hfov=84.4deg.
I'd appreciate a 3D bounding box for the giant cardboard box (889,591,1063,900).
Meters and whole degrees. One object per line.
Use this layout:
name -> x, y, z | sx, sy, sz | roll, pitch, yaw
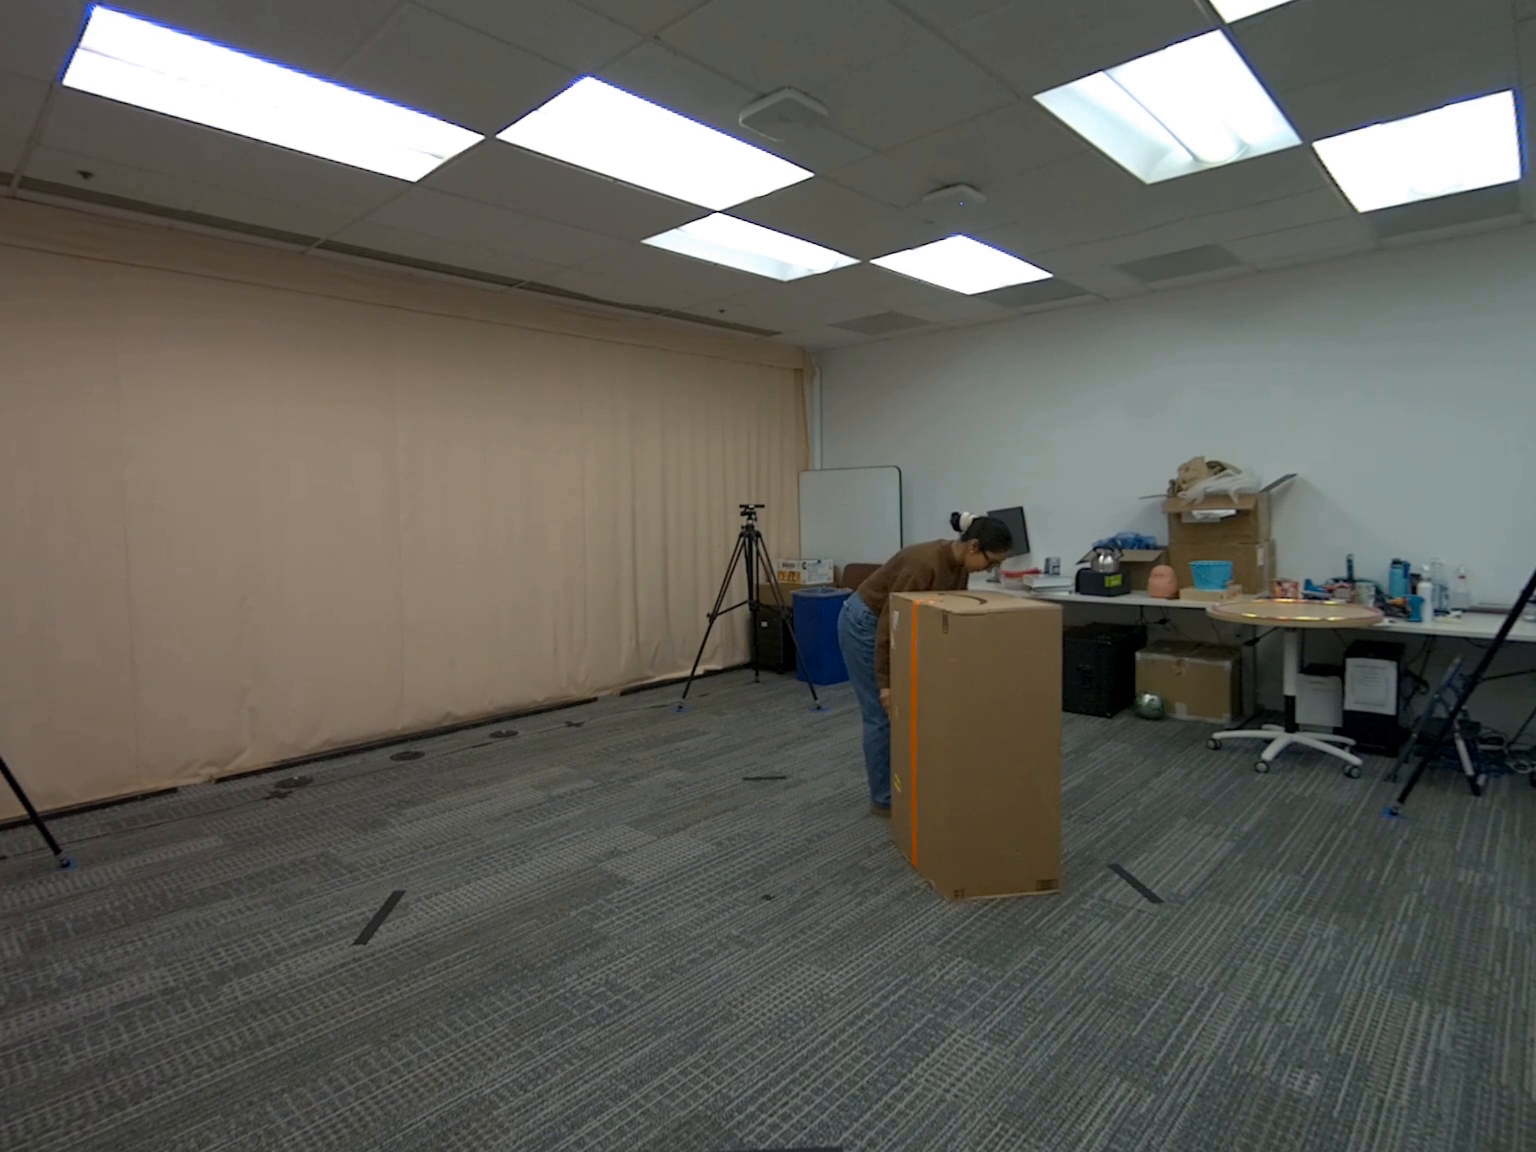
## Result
giant cardboard box -> 0.761, 0.595, 3.198 | 0.422, 1.023, 0.585 | -1, 4, -11
